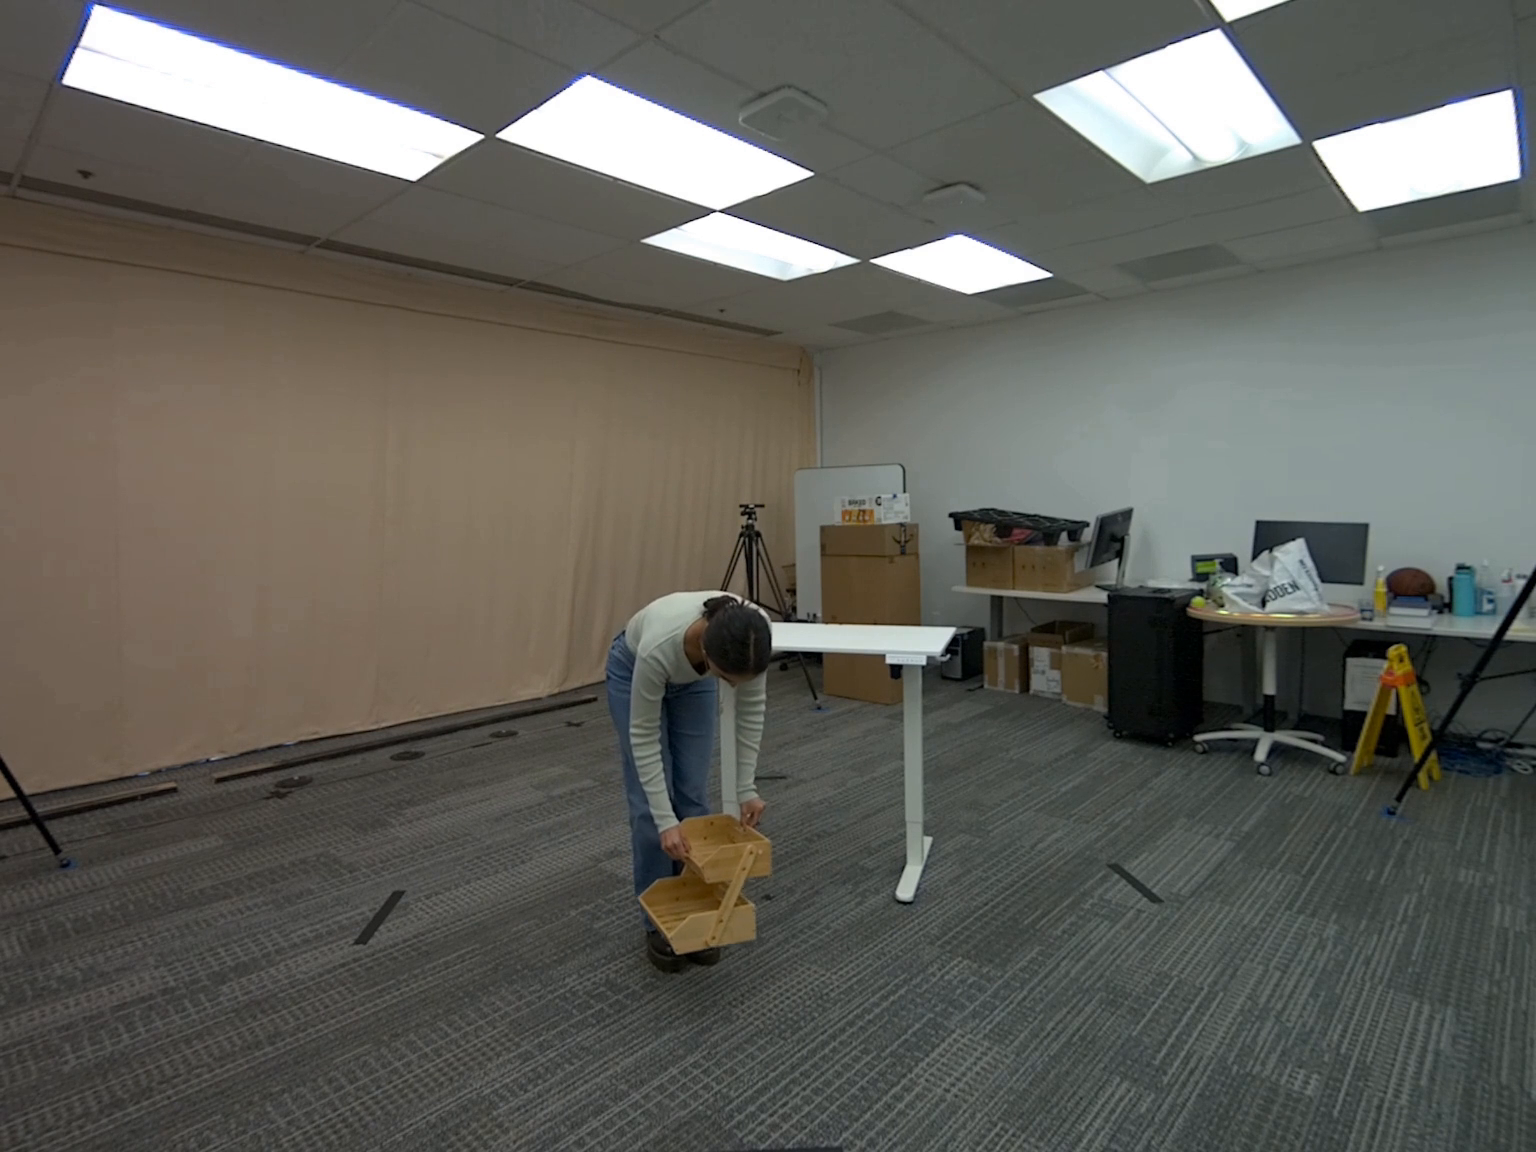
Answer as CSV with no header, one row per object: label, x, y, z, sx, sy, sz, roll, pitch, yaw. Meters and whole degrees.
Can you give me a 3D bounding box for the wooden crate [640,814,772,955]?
wooden crate,-0.191,0.861,2.398,0.295,0.274,0.331,0,-2,-24
